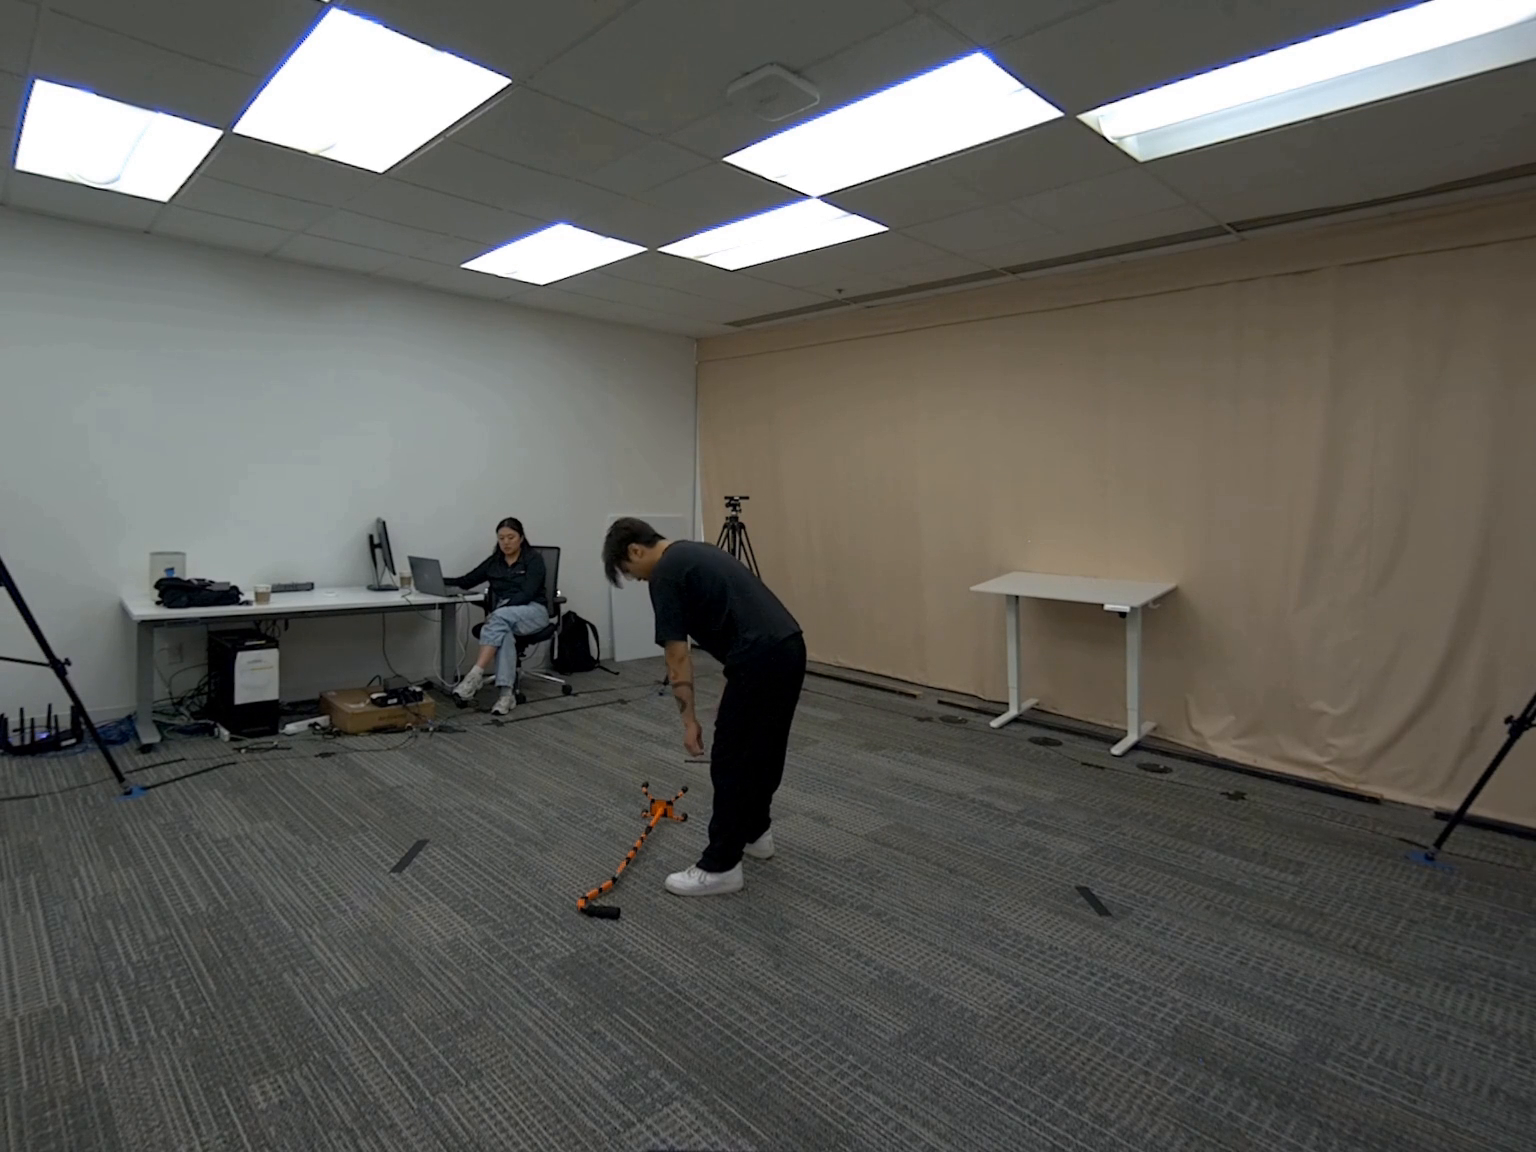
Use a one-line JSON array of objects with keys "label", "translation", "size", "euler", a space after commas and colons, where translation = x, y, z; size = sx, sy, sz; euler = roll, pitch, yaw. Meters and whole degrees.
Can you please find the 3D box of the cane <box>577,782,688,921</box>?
[{"label": "cane", "translation": [-0.519, 1.031, 3.206], "size": [0.208, 0.151, 0.906], "euler": [1, 8, 8]}]
